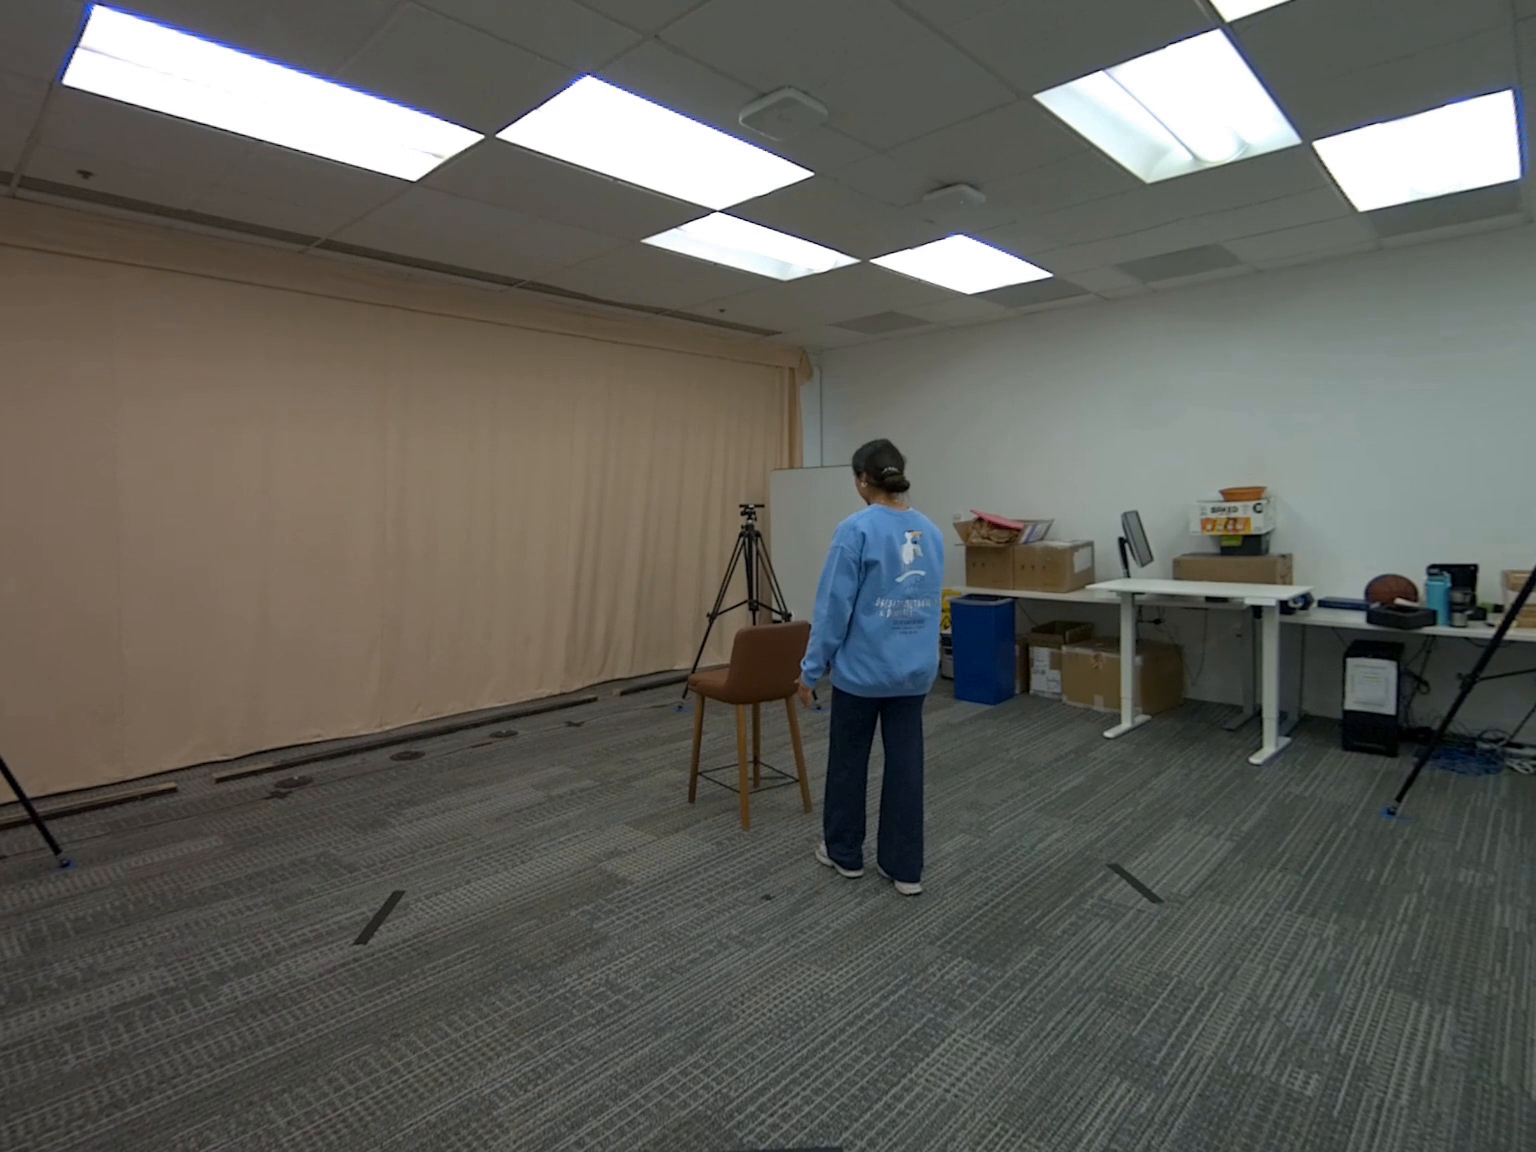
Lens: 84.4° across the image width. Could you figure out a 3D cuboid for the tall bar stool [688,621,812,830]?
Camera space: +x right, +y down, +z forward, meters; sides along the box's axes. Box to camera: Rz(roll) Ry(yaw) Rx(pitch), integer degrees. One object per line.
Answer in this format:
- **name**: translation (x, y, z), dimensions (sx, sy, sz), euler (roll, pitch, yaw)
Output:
- **tall bar stool**: translation (-0.087, 0.626, 3.858), dimensions (0.443, 0.887, 0.483), euler (-3, 6, -35)
